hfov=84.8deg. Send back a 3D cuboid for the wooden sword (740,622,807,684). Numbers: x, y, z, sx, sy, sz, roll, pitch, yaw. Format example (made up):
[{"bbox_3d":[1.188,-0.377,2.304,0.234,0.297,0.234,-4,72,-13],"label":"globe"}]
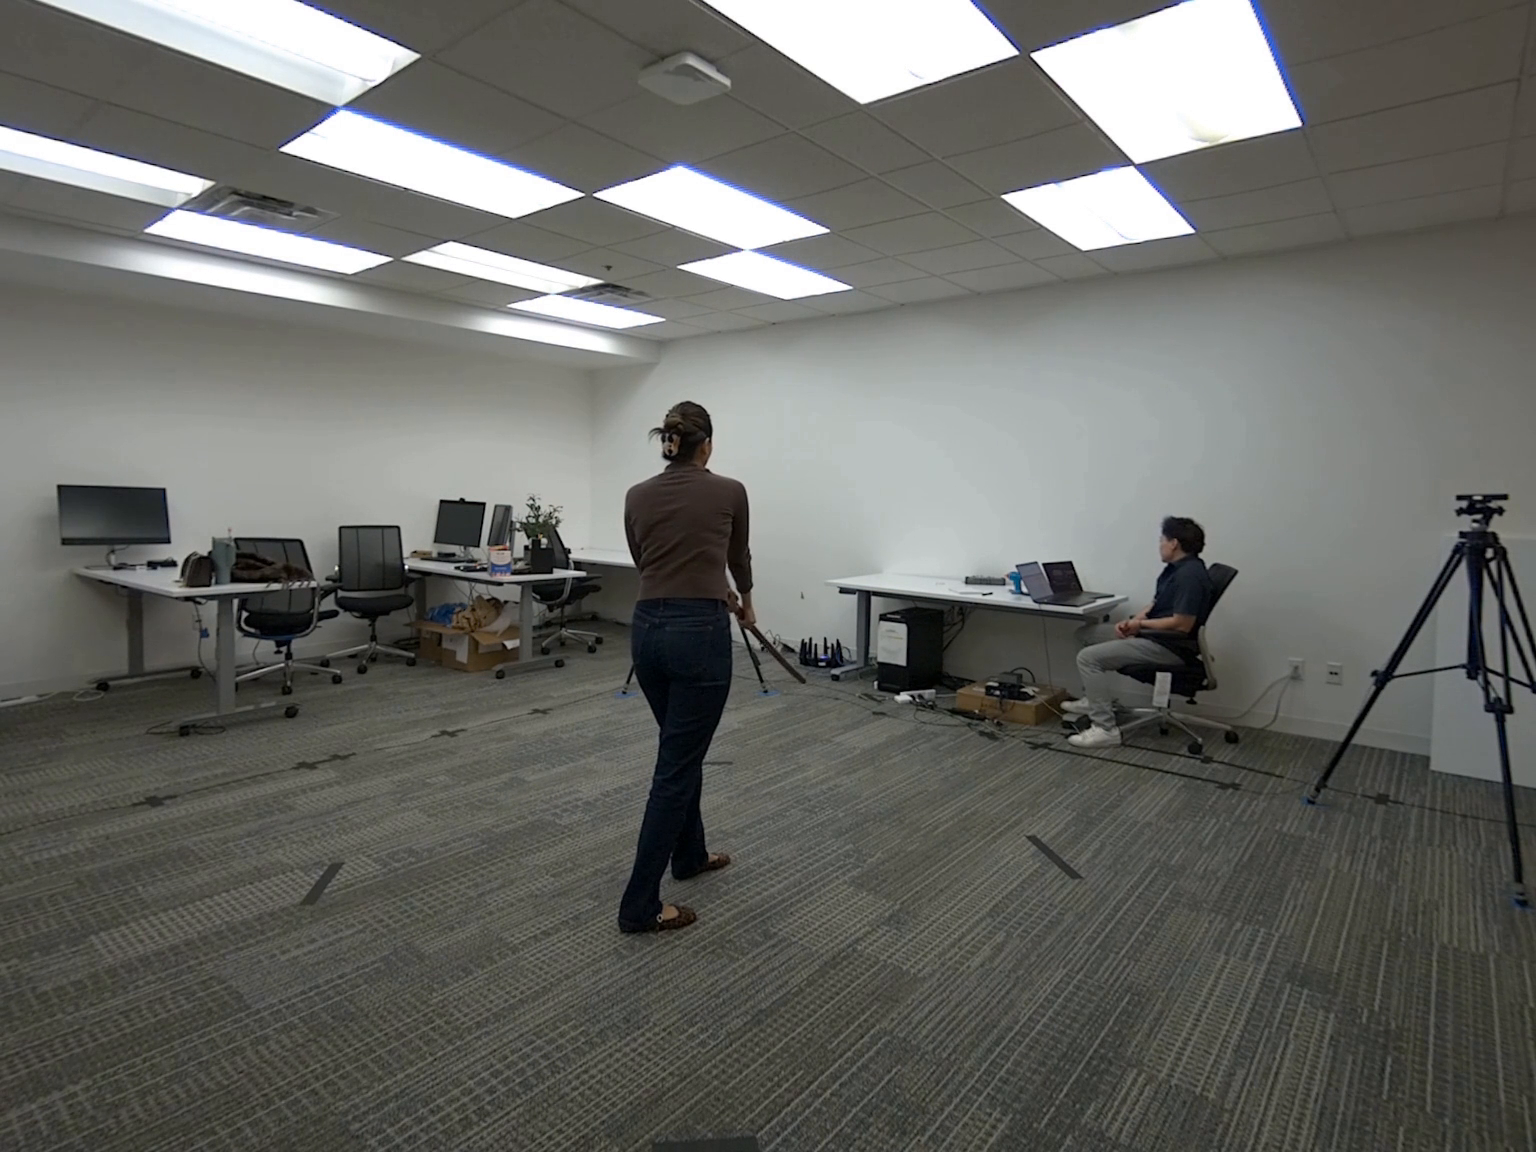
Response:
[{"bbox_3d":[-0.018,0.269,3.501,0.024,0.053,0.984,-15,-32,14],"label":"wooden sword"}]
